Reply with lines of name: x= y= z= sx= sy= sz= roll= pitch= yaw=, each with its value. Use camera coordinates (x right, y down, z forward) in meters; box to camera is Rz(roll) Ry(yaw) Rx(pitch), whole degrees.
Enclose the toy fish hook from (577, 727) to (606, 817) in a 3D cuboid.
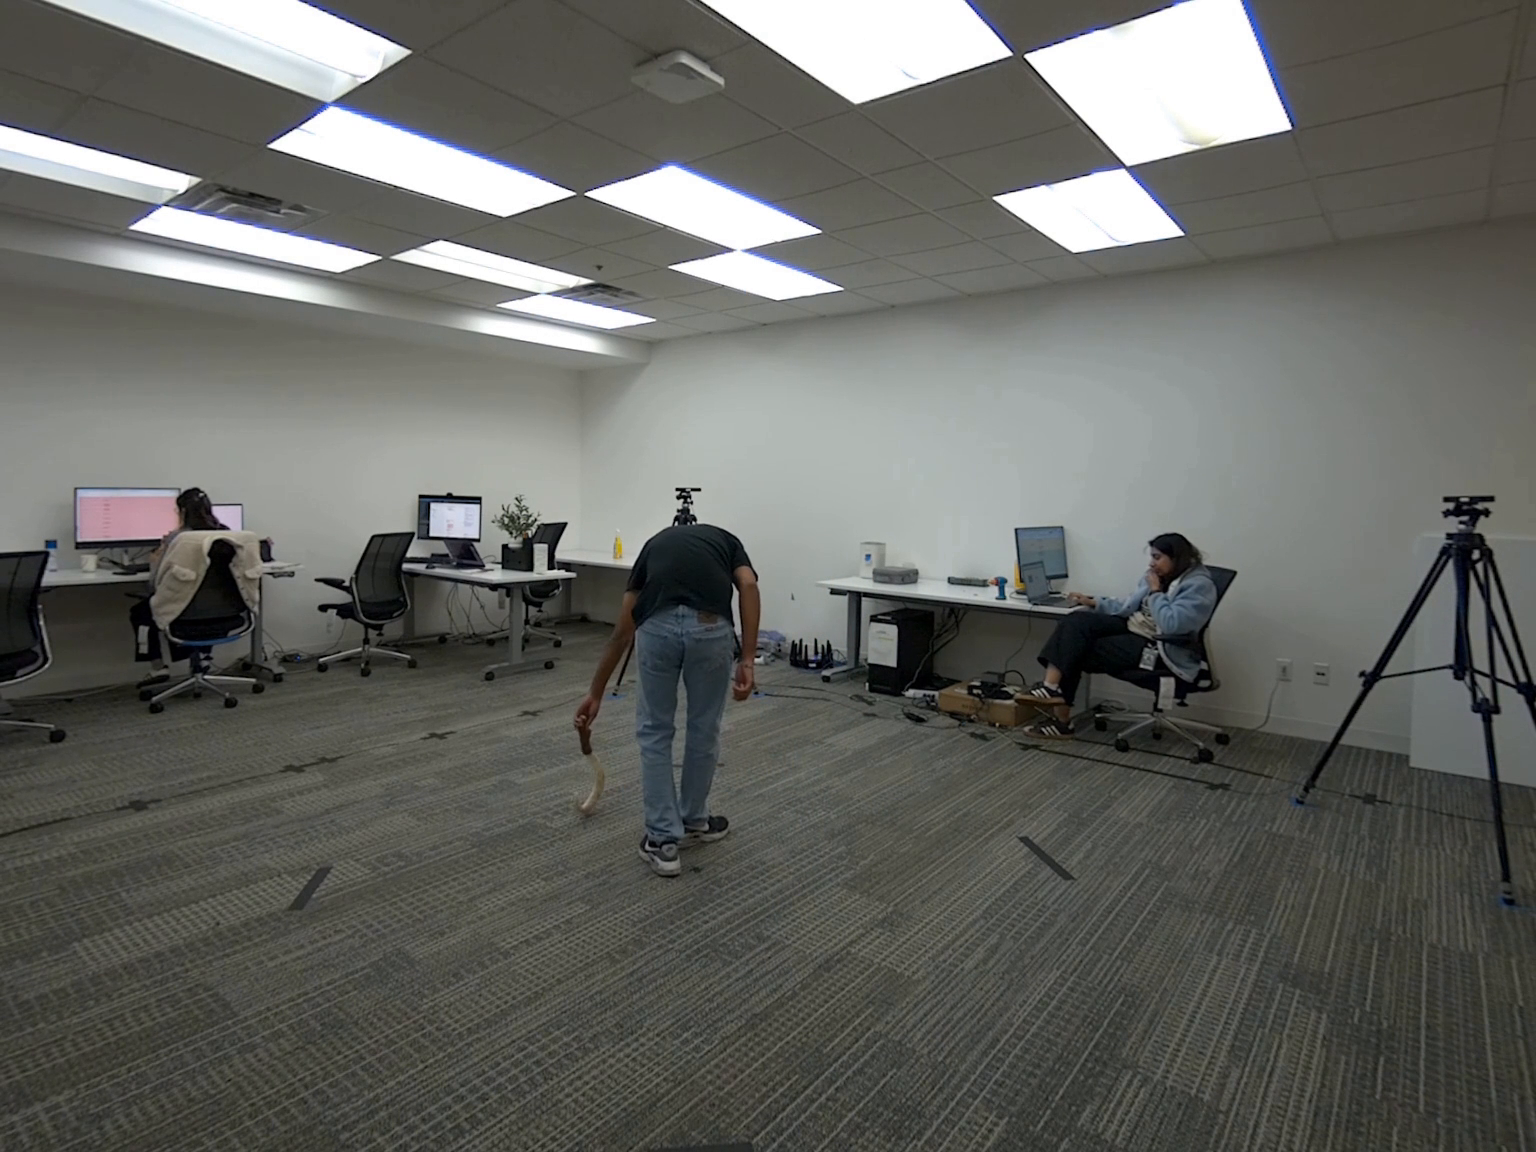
toy fish hook: x=-0.769 y=0.791 z=3.501 sx=0.049 sy=0.491 sz=0.227 roll=7 pitch=39 yaw=15
